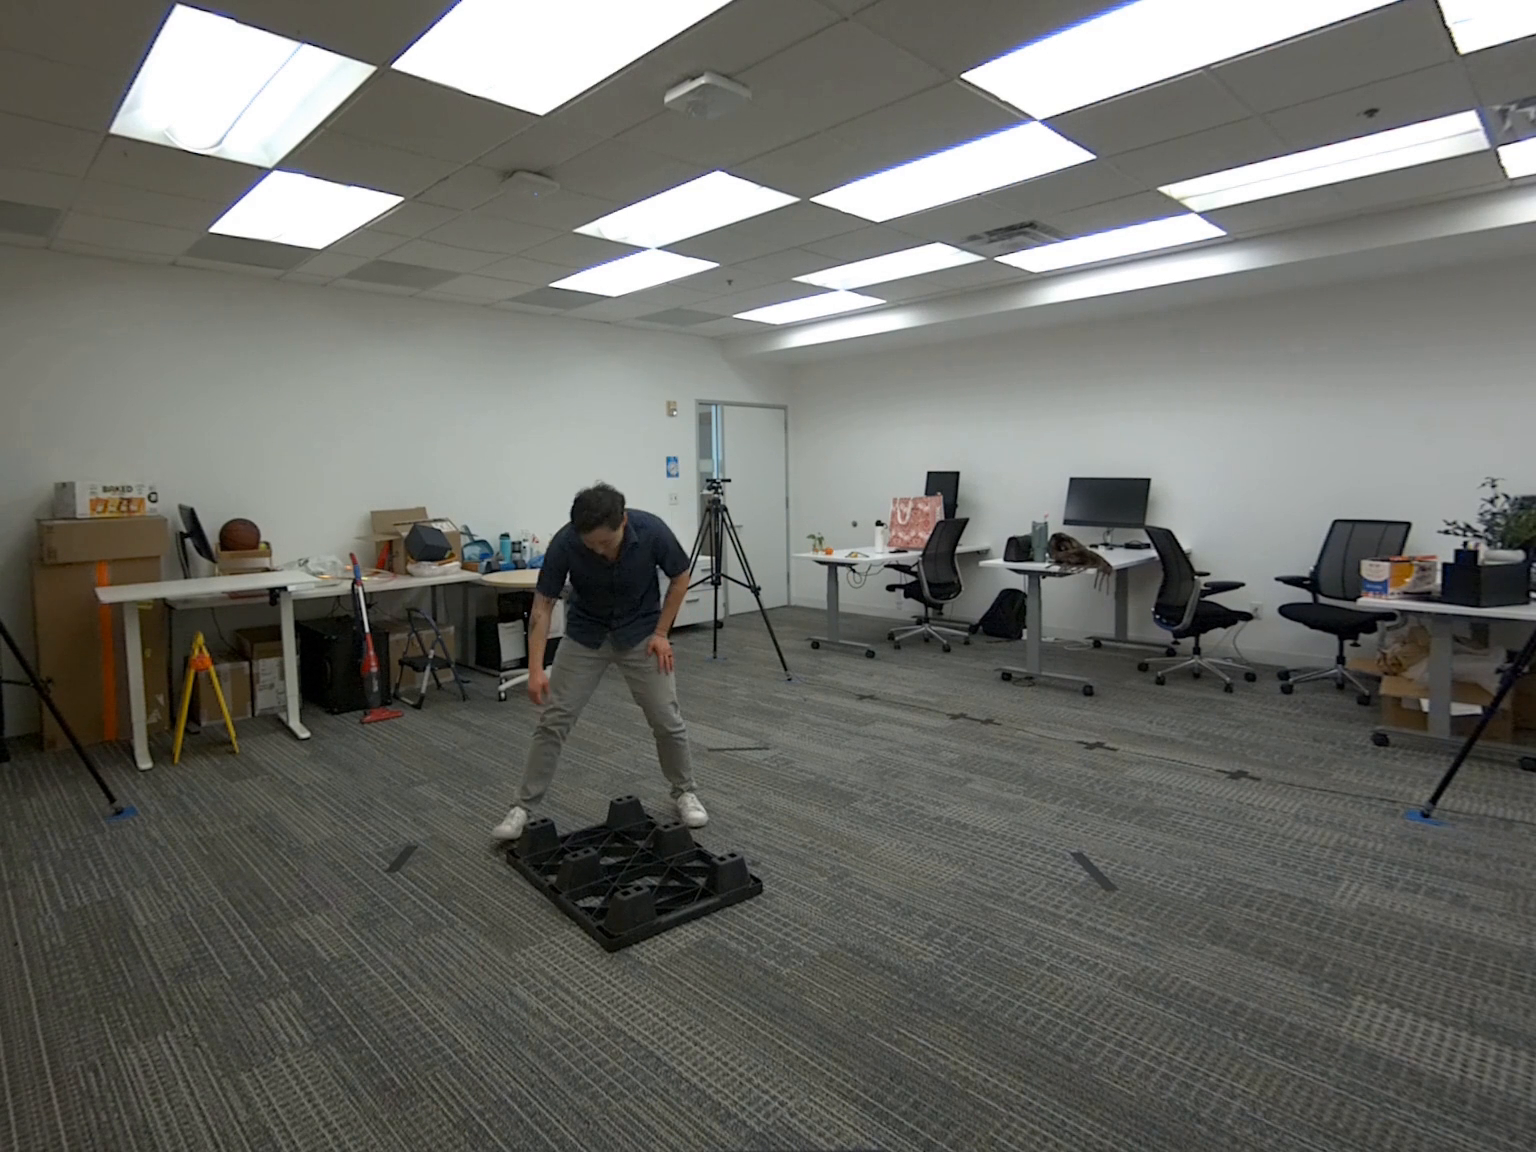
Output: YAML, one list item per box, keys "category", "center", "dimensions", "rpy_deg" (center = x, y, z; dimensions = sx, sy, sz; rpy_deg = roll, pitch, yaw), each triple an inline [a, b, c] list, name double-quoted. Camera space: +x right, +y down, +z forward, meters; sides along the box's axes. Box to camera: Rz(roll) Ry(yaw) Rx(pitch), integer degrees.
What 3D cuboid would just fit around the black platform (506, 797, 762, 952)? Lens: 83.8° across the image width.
- category: "black platform"
  center: [-0.495, 0.998, 3.021]
  dimensions: [0.589, 0.143, 0.830]
  rpy_deg: [-6, 8, -38]
